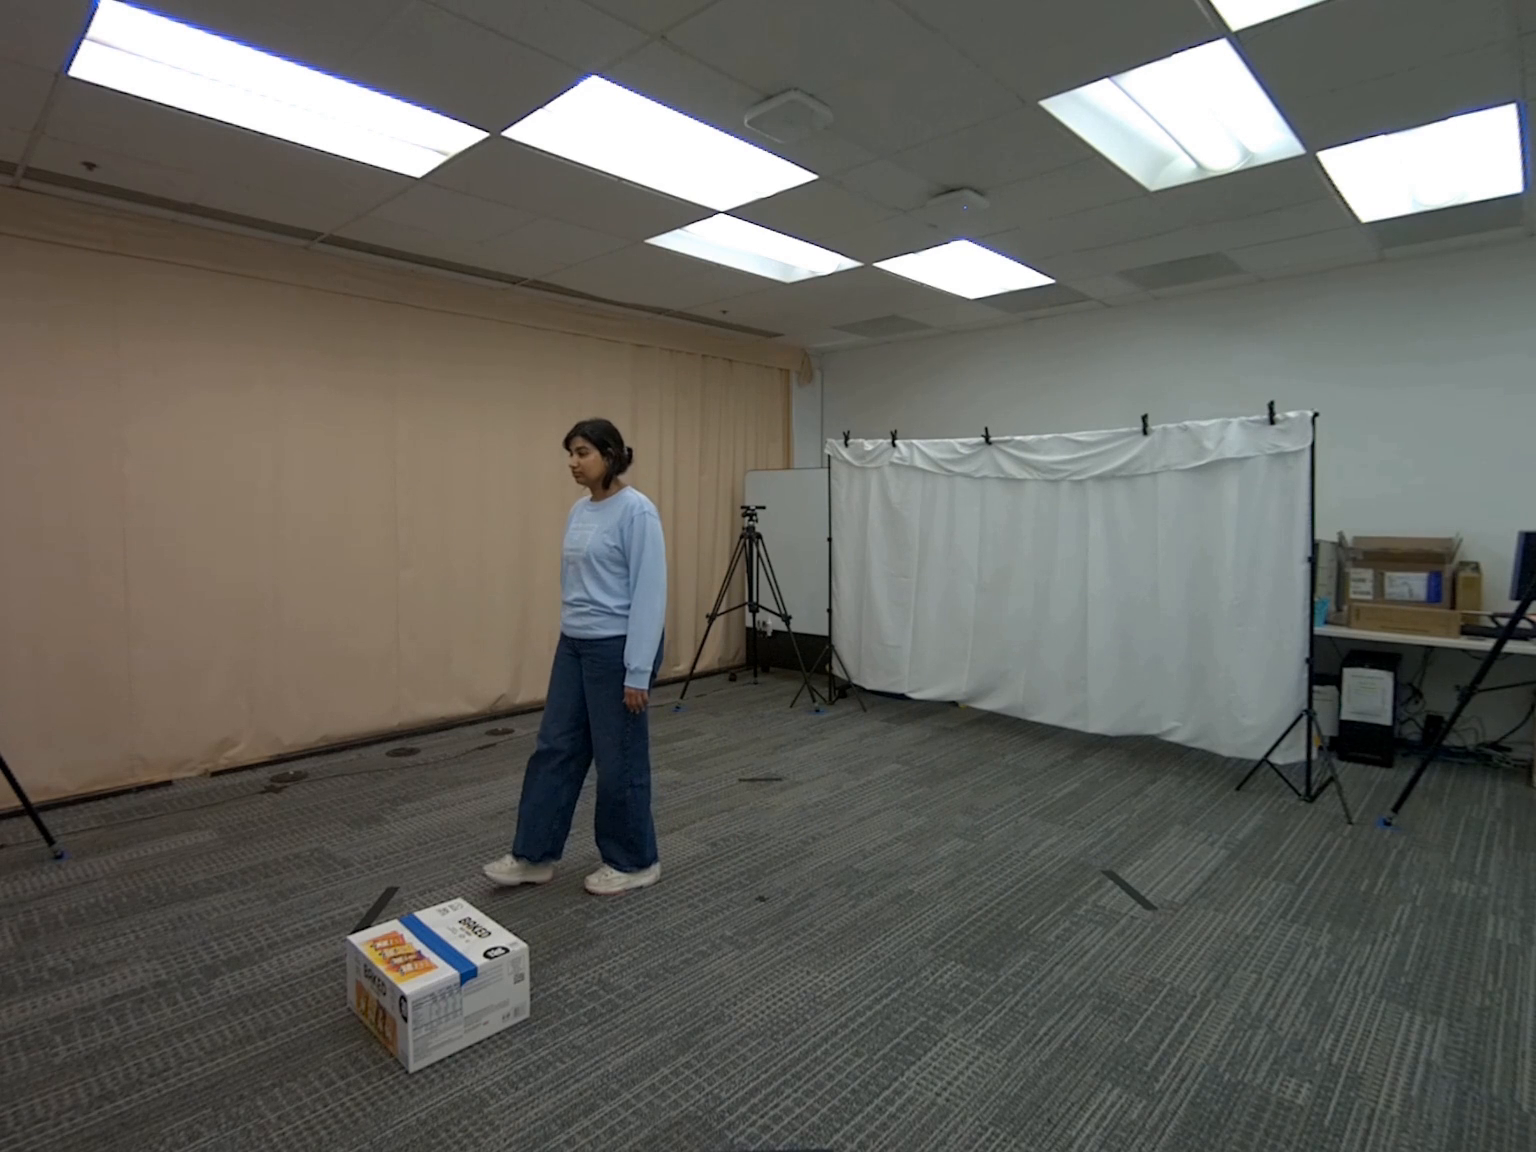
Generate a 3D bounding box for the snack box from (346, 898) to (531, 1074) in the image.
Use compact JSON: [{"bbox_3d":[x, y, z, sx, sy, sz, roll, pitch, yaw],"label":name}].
[{"bbox_3d":[-0.911,1.103,2.313,0.419,0.205,0.330,4,6,45],"label":"snack box"}]
